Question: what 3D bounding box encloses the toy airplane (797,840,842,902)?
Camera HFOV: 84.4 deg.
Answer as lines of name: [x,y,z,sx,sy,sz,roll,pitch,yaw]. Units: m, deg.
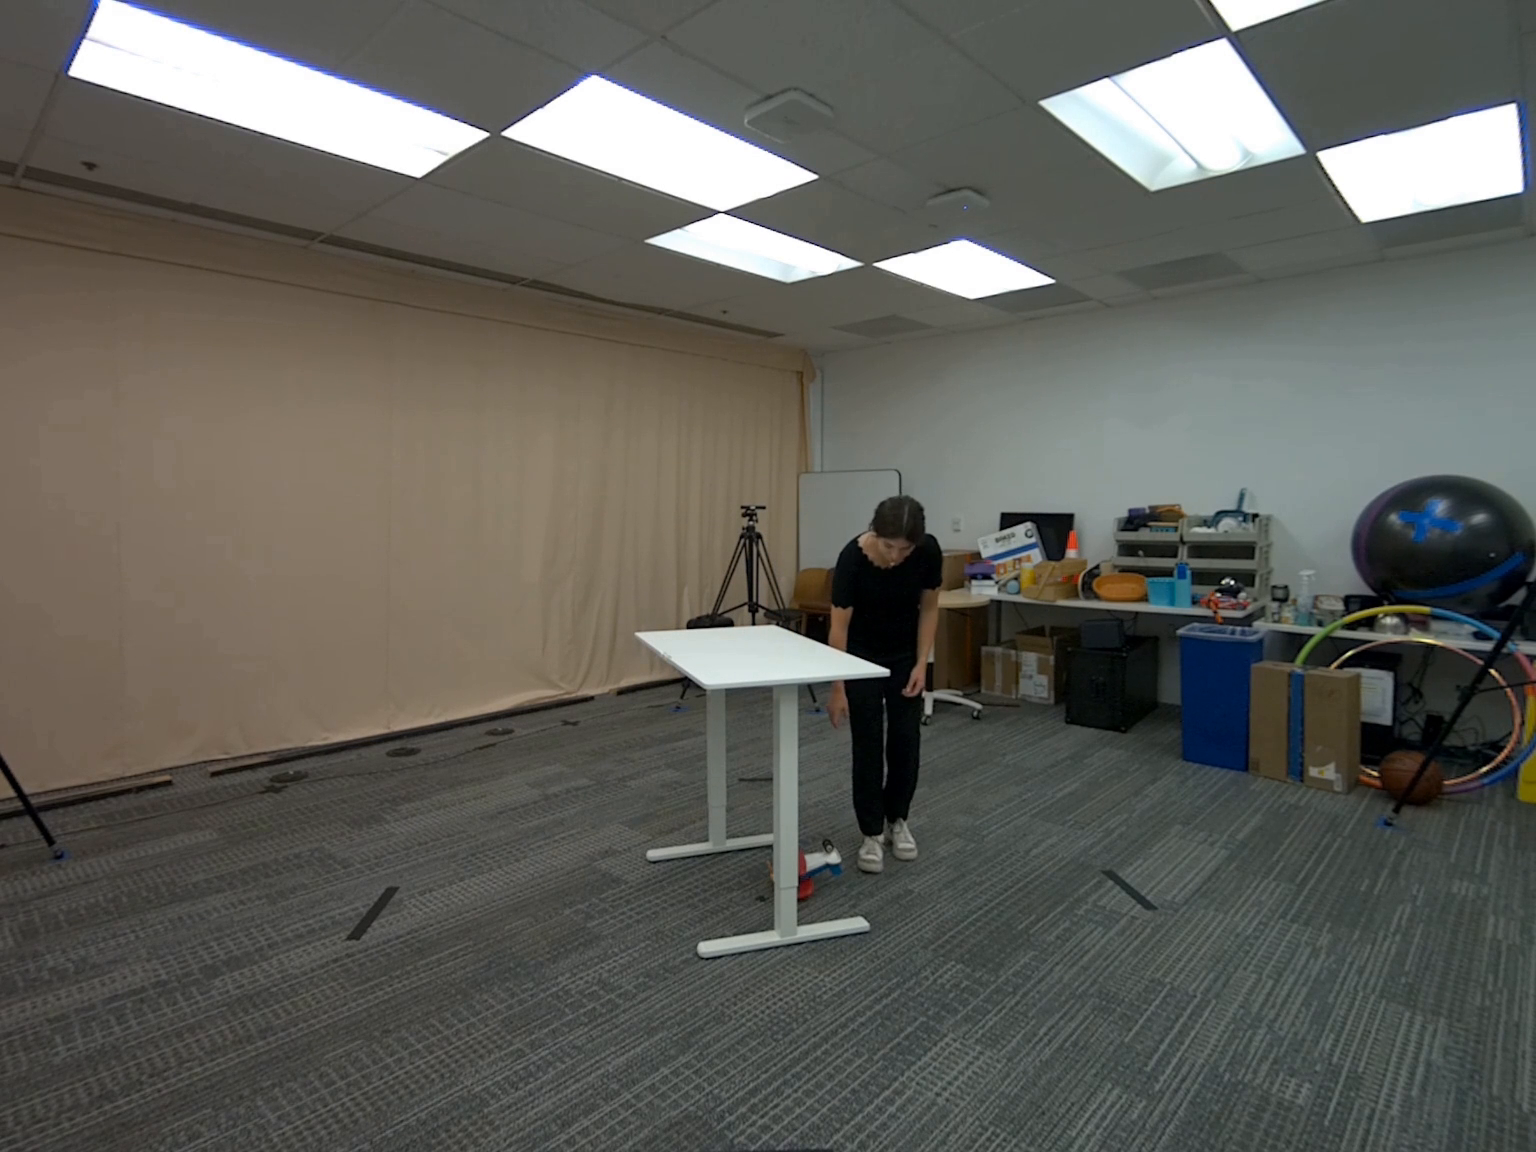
toy airplane: [0.135,1.054,3.057,0.265,0.156,0.246,-2,6,23]
